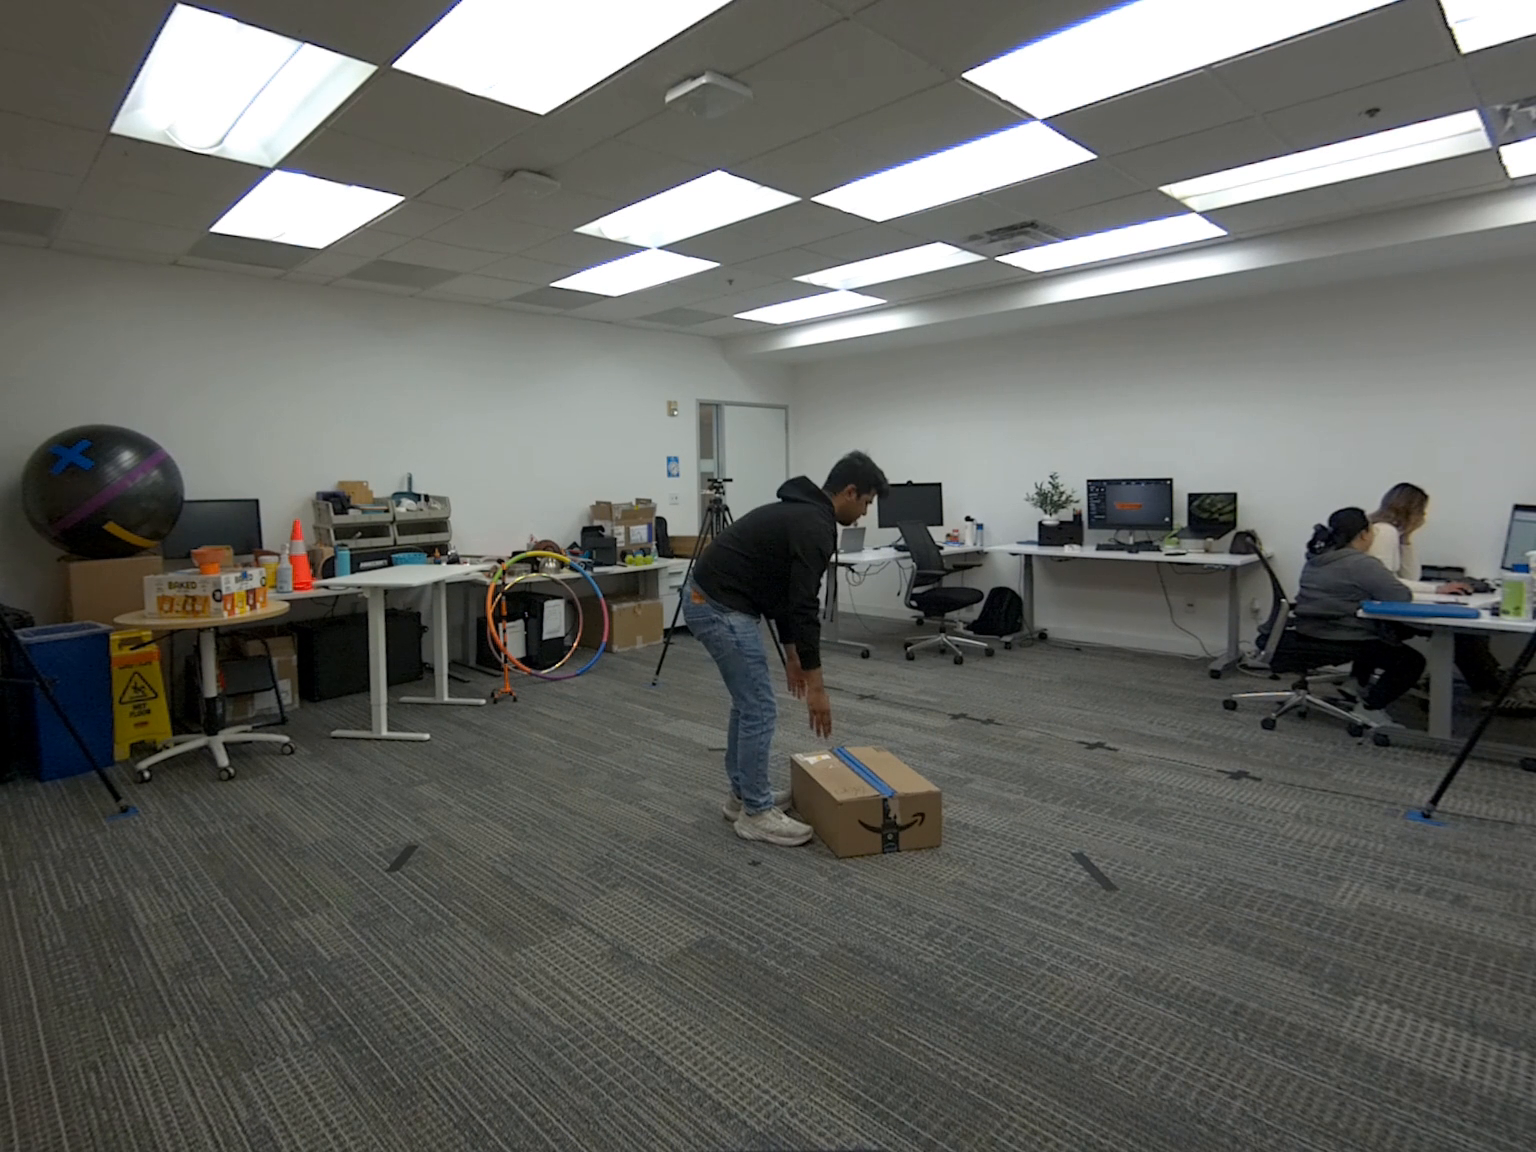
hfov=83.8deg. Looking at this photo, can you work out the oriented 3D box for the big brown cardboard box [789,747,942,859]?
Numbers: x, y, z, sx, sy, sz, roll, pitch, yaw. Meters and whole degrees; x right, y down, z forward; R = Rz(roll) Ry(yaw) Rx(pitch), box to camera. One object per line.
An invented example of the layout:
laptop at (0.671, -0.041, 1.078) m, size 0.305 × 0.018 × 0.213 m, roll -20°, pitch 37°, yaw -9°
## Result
big brown cardboard box at (0.377, 0.888, 3.440) m, size 0.412 × 0.232 × 0.600 m, roll -3°, pitch 7°, yaw -15°
